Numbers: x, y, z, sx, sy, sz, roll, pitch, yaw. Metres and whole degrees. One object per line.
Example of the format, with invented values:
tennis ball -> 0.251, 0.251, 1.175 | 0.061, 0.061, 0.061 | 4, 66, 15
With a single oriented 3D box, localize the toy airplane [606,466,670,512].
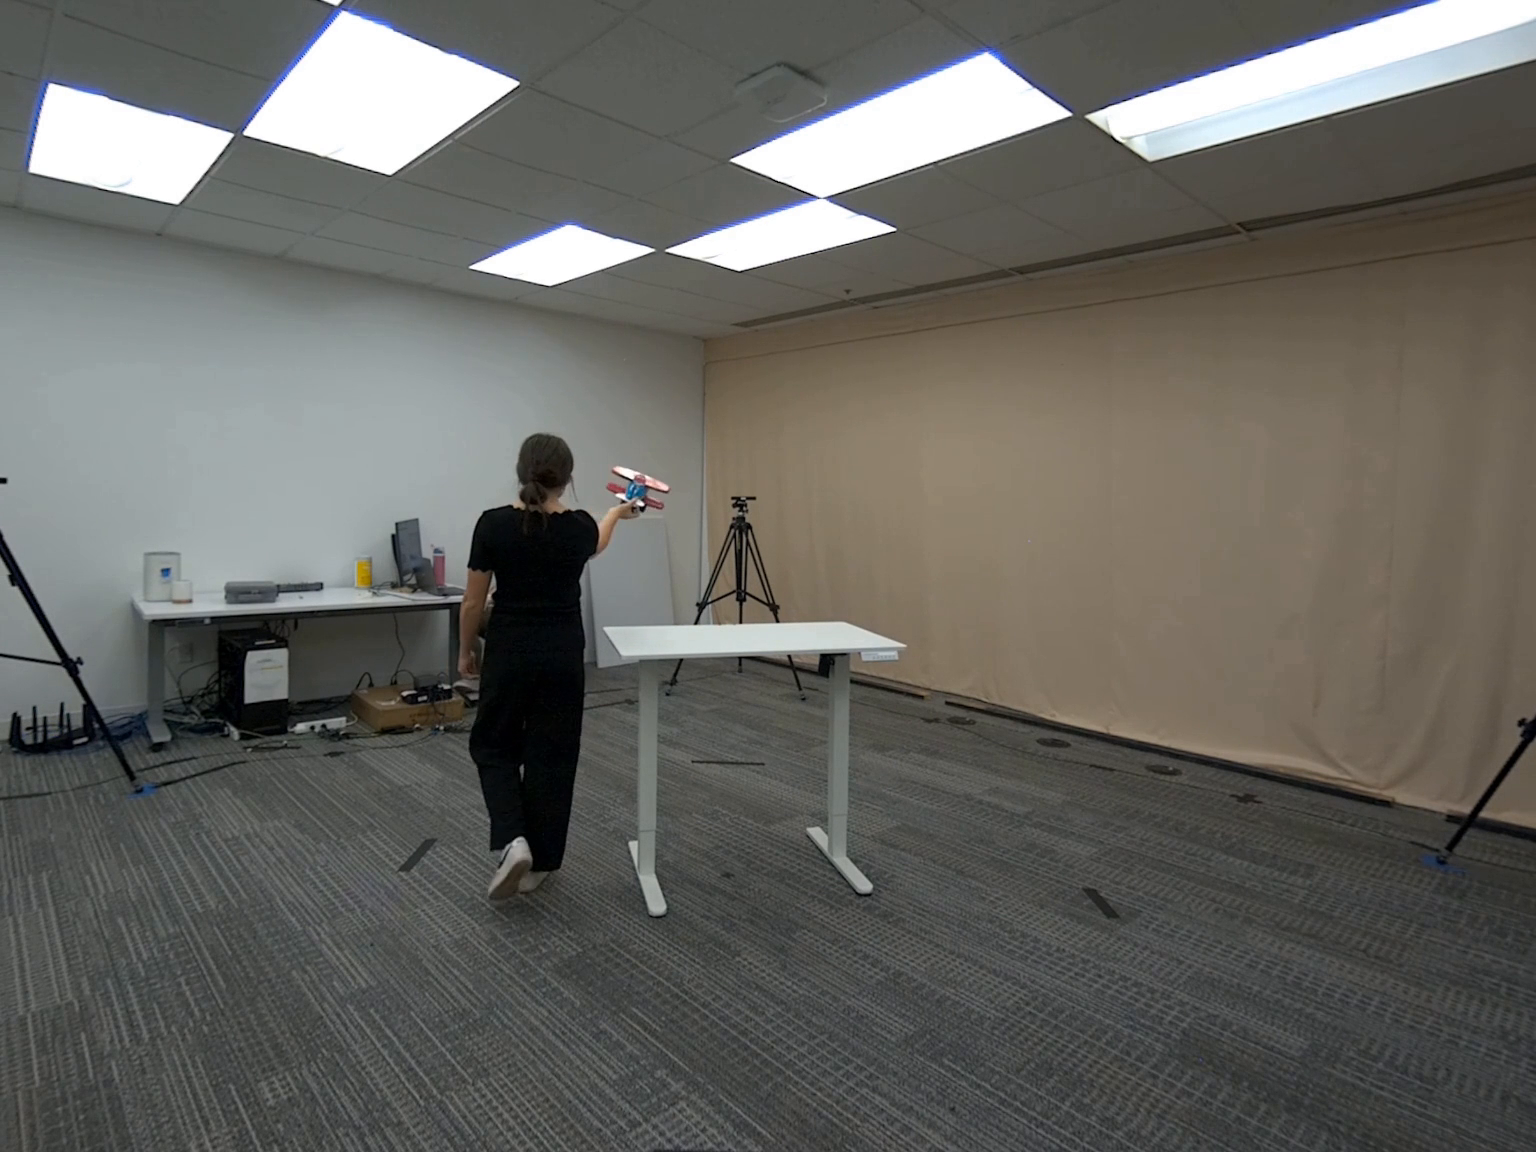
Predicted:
toy airplane -> -0.545, -0.340, 3.505 | 0.245, 0.156, 0.266 | 16, 10, -30
